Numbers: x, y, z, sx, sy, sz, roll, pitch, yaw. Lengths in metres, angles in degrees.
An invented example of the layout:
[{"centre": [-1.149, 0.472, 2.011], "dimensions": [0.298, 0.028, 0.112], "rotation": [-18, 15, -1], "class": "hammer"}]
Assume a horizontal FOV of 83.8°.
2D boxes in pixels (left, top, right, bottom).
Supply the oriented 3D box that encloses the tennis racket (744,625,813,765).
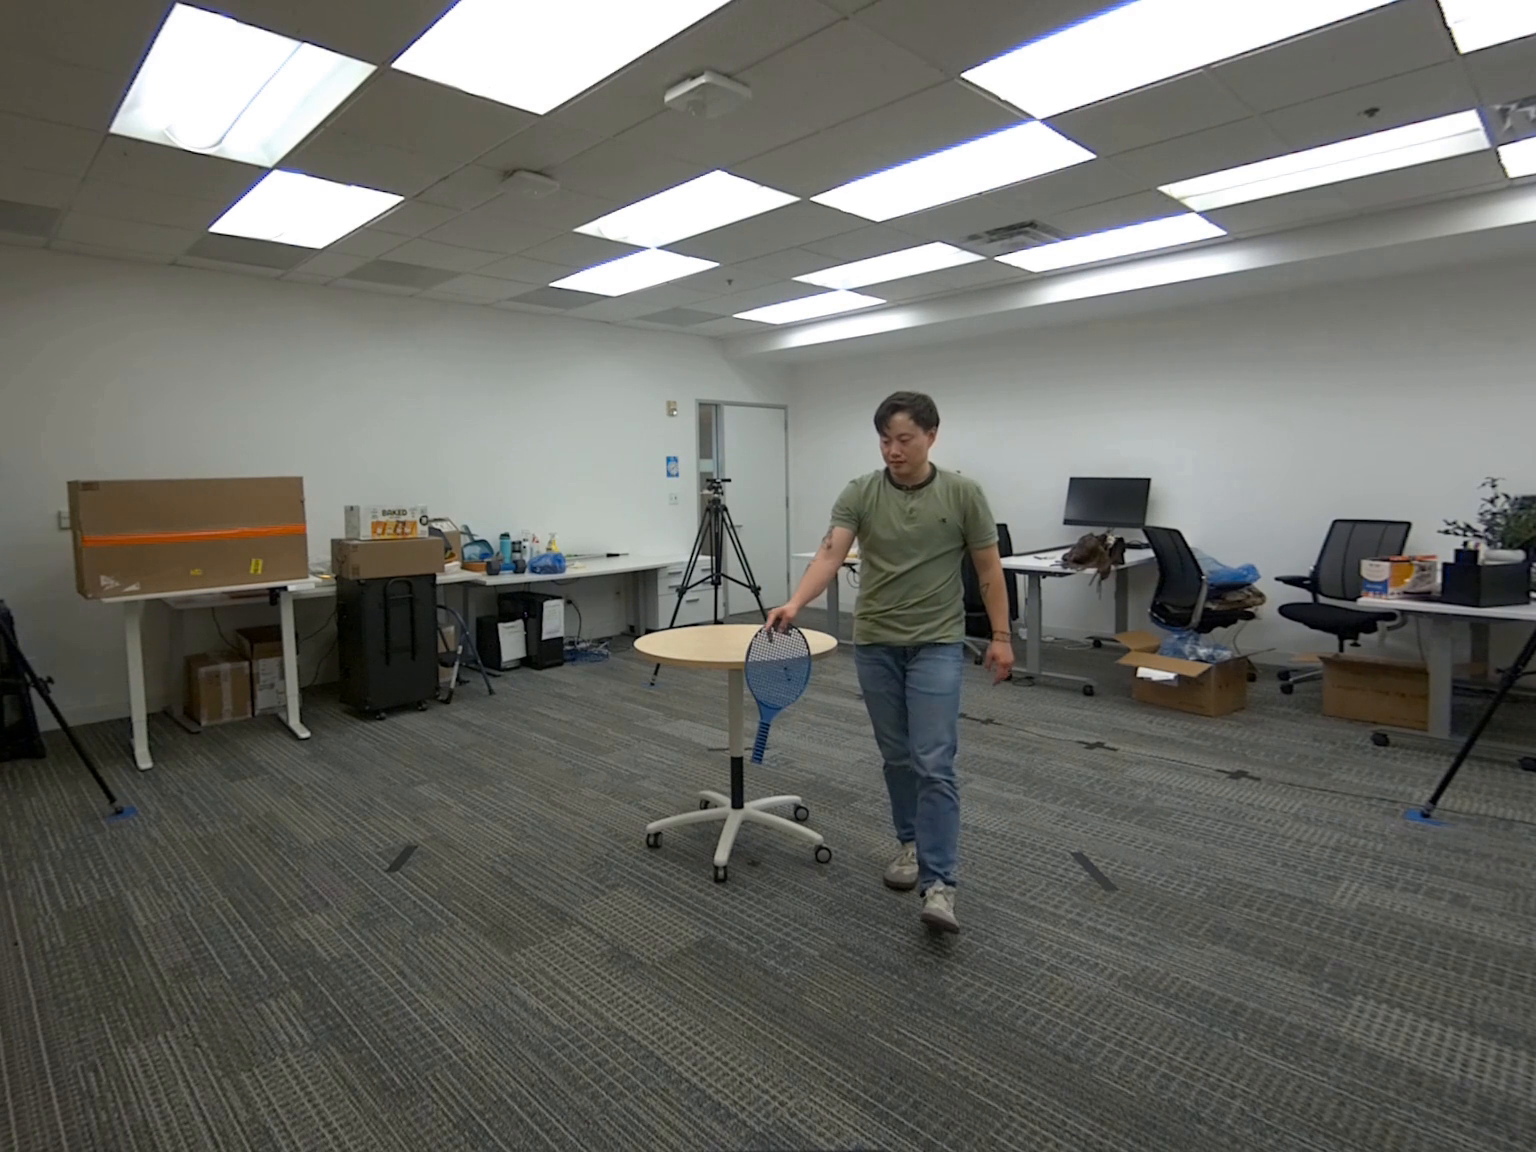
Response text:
[{"centre": [0.018, 0.339, 2.560], "dimensions": [0.211, 0.437, 0.032], "rotation": [20, -19, -11], "class": "tennis racket"}]
